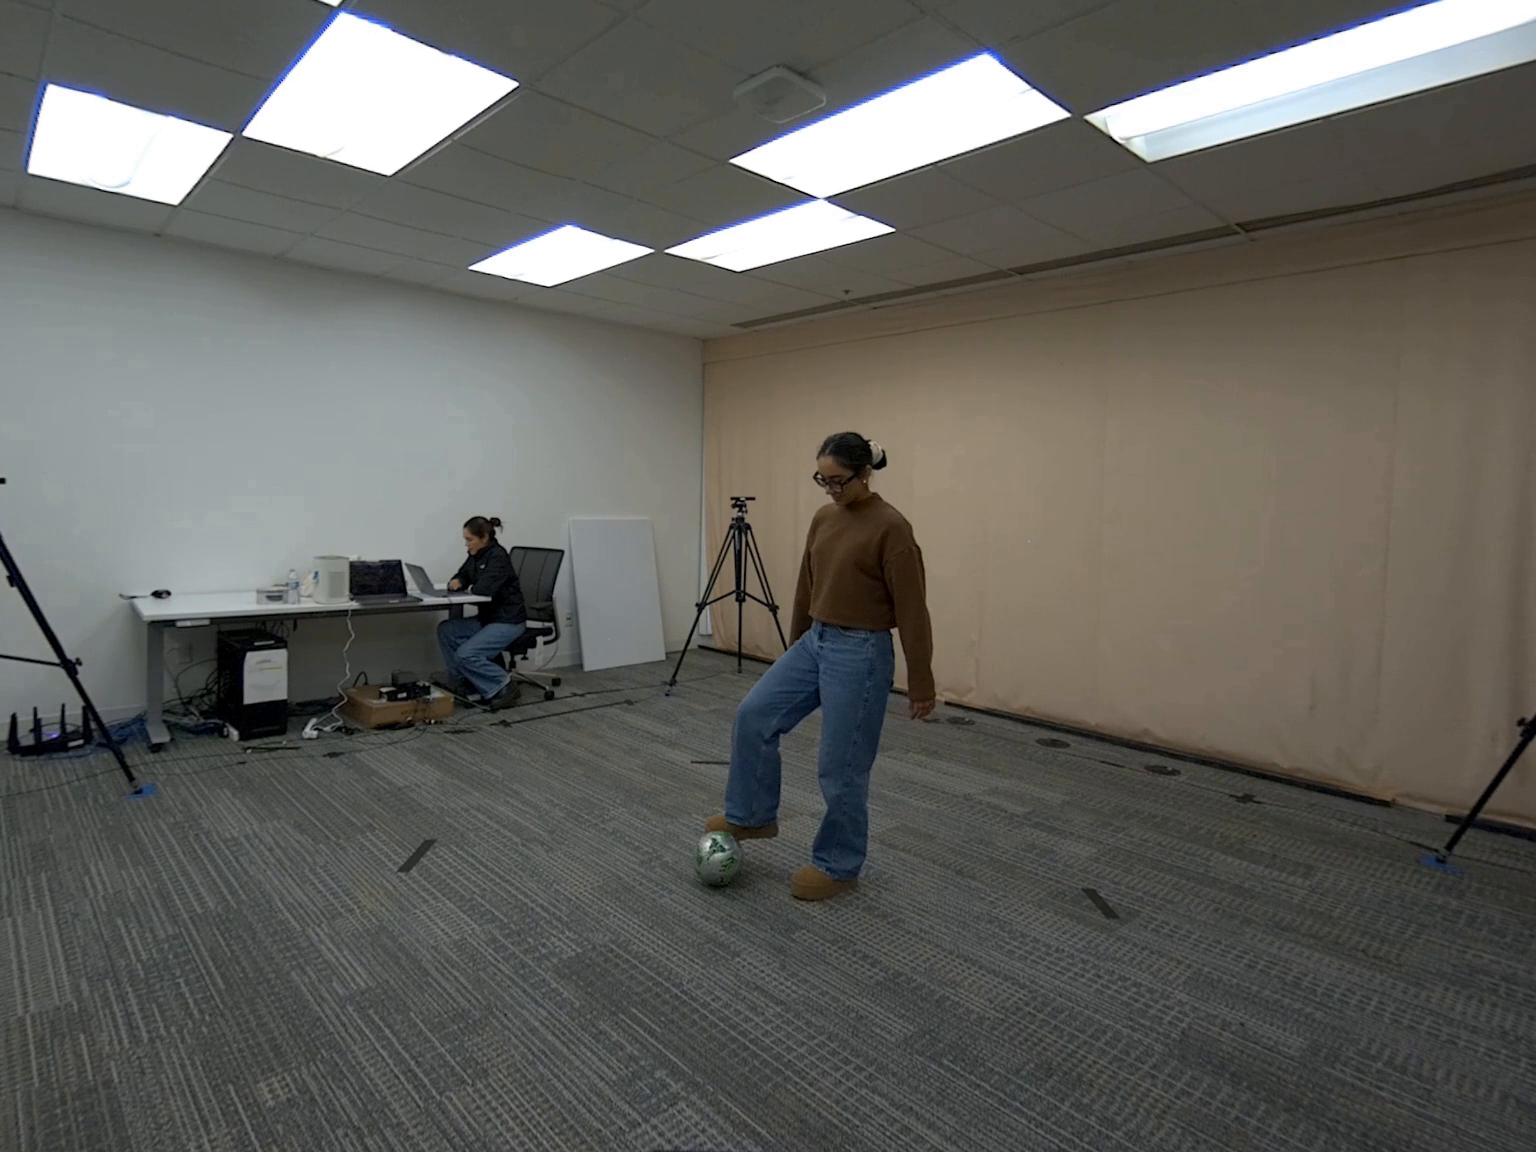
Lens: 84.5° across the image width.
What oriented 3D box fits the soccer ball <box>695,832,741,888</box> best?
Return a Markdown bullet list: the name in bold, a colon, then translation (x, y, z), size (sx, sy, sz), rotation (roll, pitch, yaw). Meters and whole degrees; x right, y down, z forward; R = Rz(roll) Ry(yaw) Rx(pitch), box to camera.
- **soccer ball**: translation (-0.187, 1.013, 3.031), size (0.187, 0.187, 0.188), rotation (1, 4, -1)
